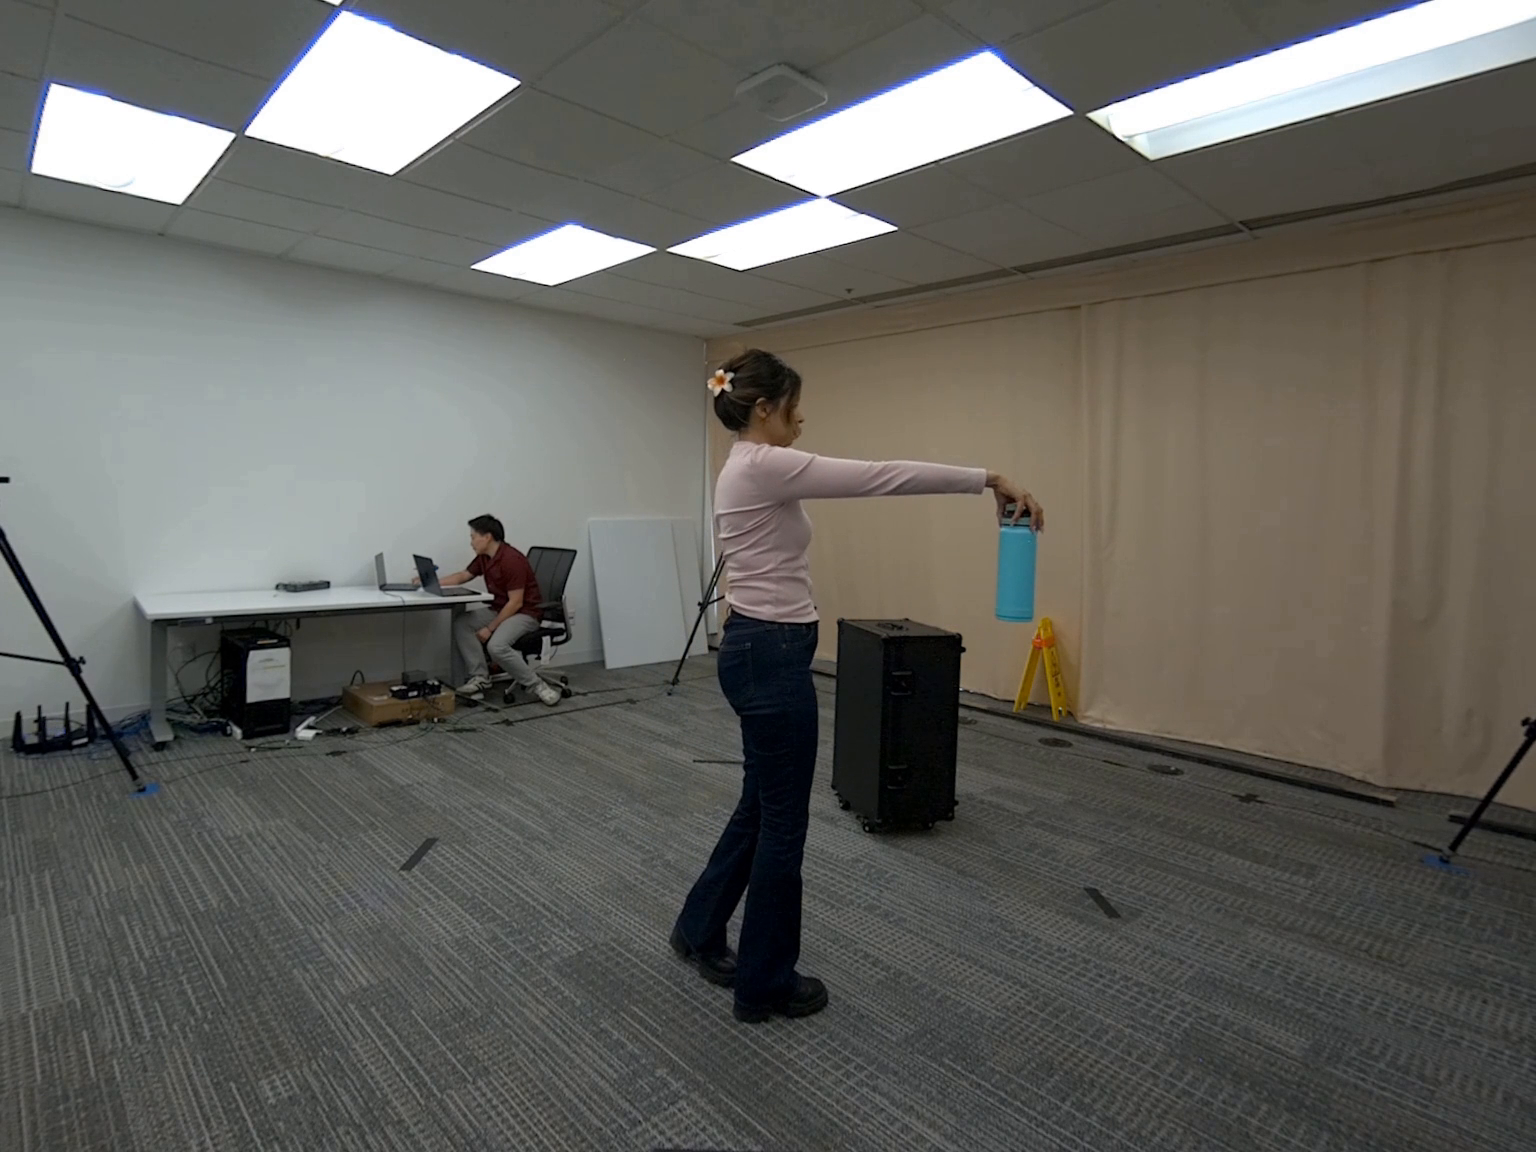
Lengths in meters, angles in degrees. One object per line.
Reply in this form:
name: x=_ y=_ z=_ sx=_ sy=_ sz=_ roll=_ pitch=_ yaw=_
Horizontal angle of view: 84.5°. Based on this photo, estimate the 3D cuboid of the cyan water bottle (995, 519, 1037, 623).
cyan water bottle: x=0.603 y=-0.034 z=2.045 sx=0.092 sy=0.283 sz=0.092 roll=2 pitch=0 yaw=-1
